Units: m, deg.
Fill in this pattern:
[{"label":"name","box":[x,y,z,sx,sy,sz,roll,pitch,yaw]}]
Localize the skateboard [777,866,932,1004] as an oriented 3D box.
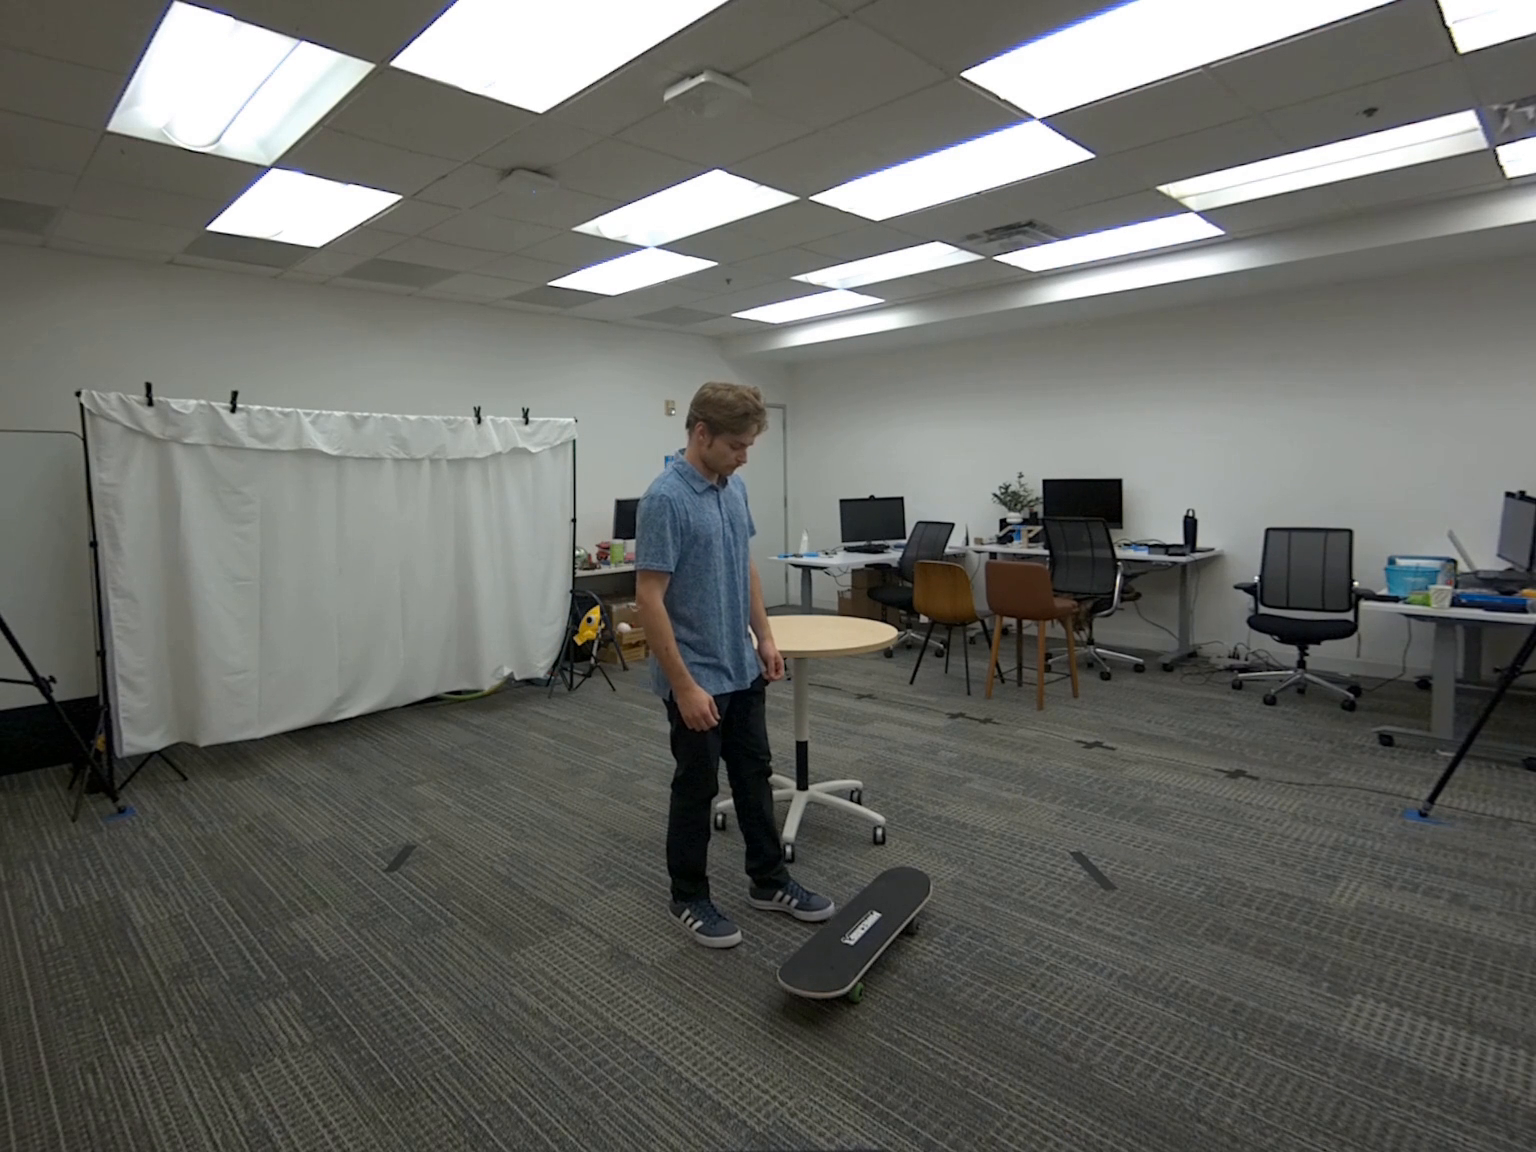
[{"label":"skateboard","box":[0.275,1.044,2.491,0.199,0.110,0.768,3,8,31]}]
